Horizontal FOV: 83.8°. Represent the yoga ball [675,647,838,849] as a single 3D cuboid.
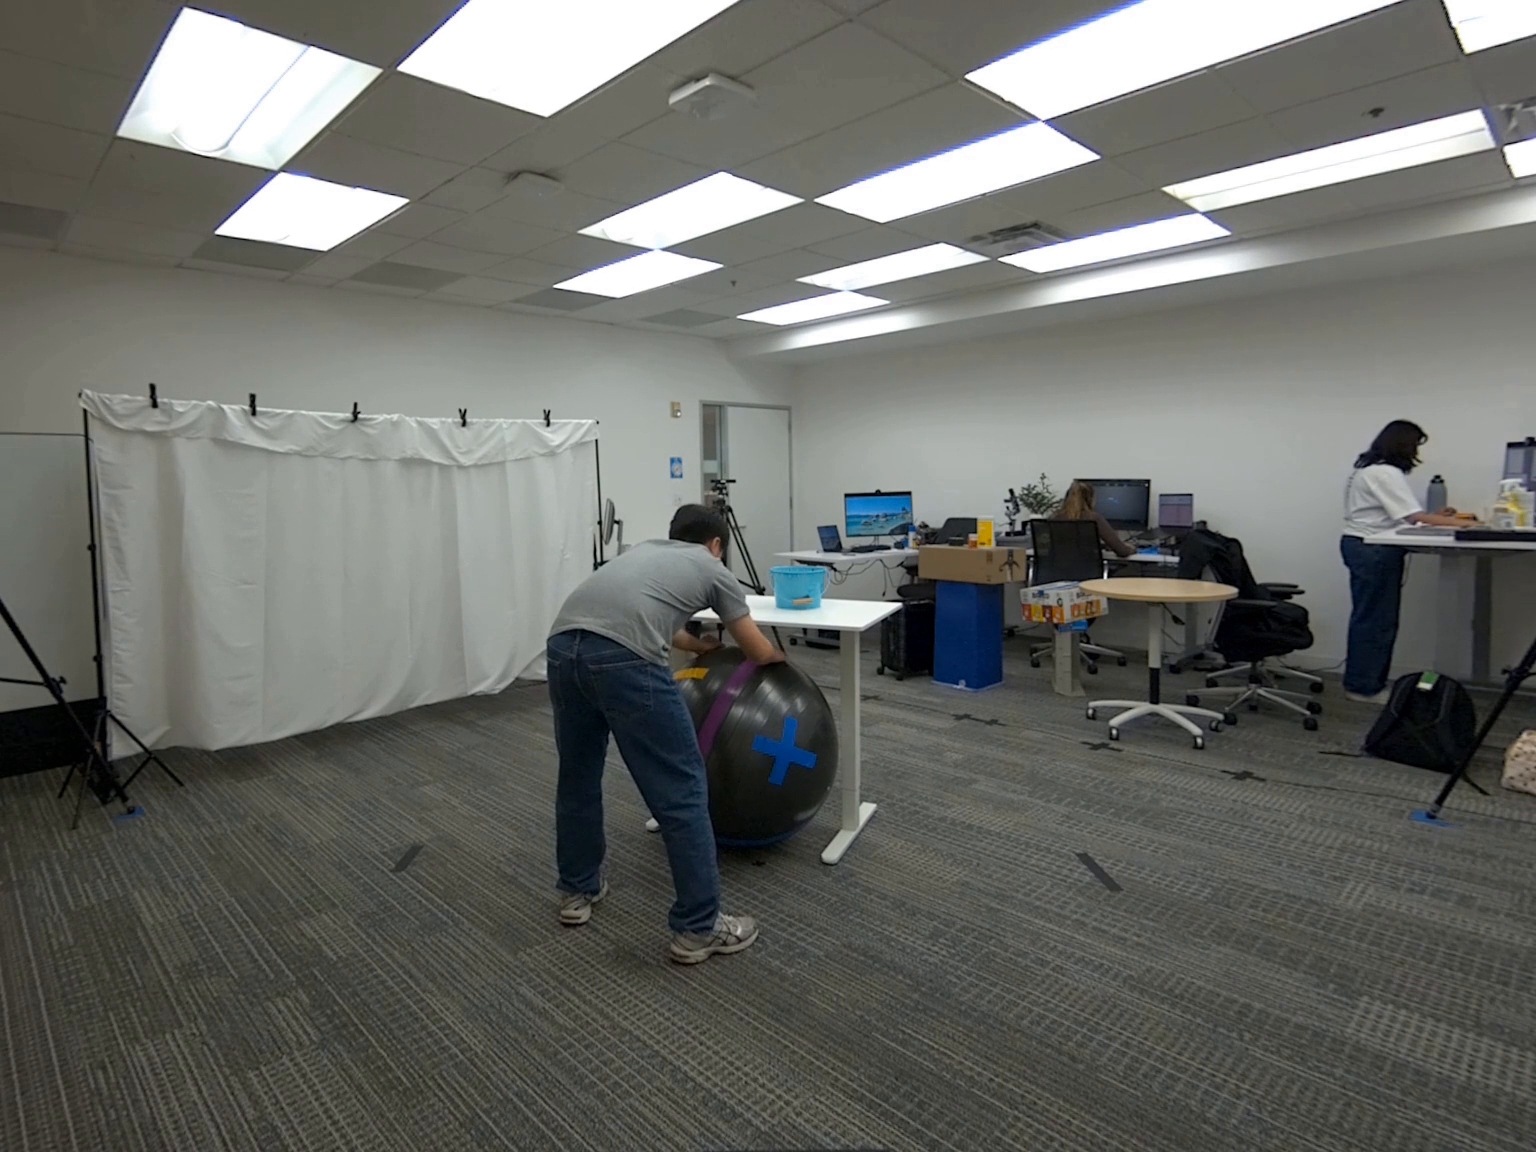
[{"bbox_3d":[-0.111,0.655,3.287,0.757,0.755,0.762,-1,5,-2],"label":"yoga ball"}]
